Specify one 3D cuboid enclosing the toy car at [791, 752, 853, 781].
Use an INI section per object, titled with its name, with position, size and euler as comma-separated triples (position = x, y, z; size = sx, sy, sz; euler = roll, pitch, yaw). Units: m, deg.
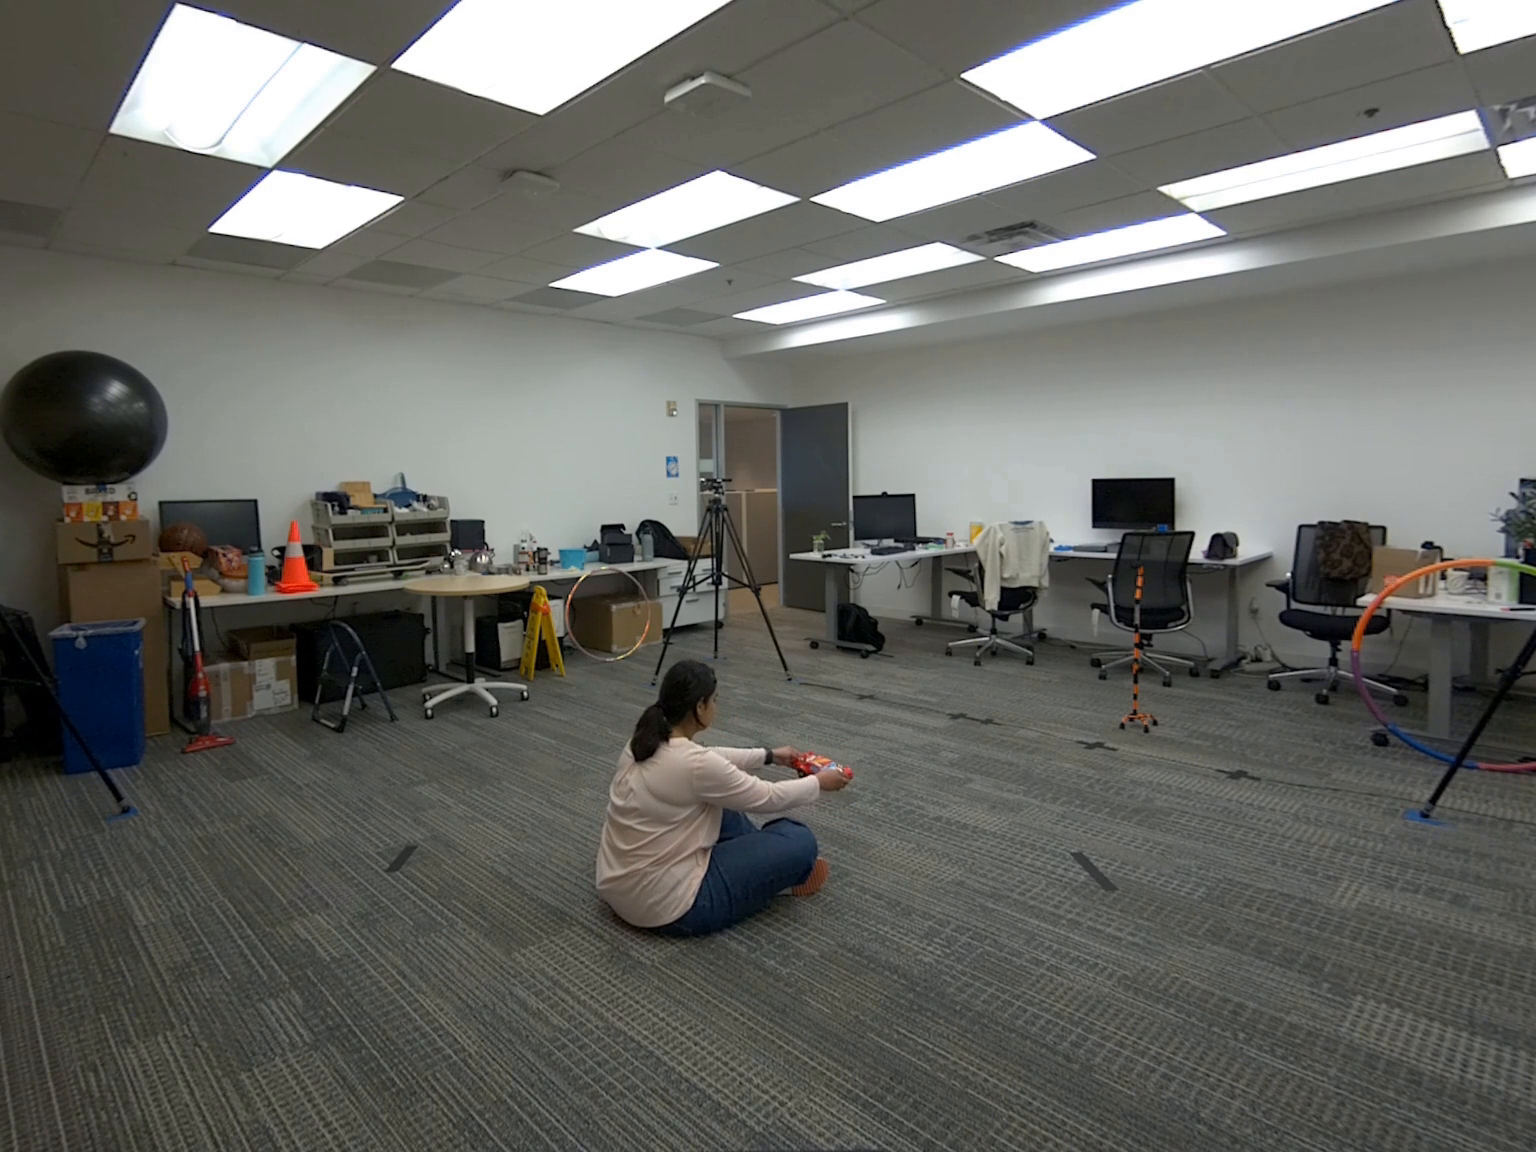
[toy car]
position = 0.196, 0.730, 3.217
size = 0.128, 0.082, 0.264
euler = -17, 25, -32
